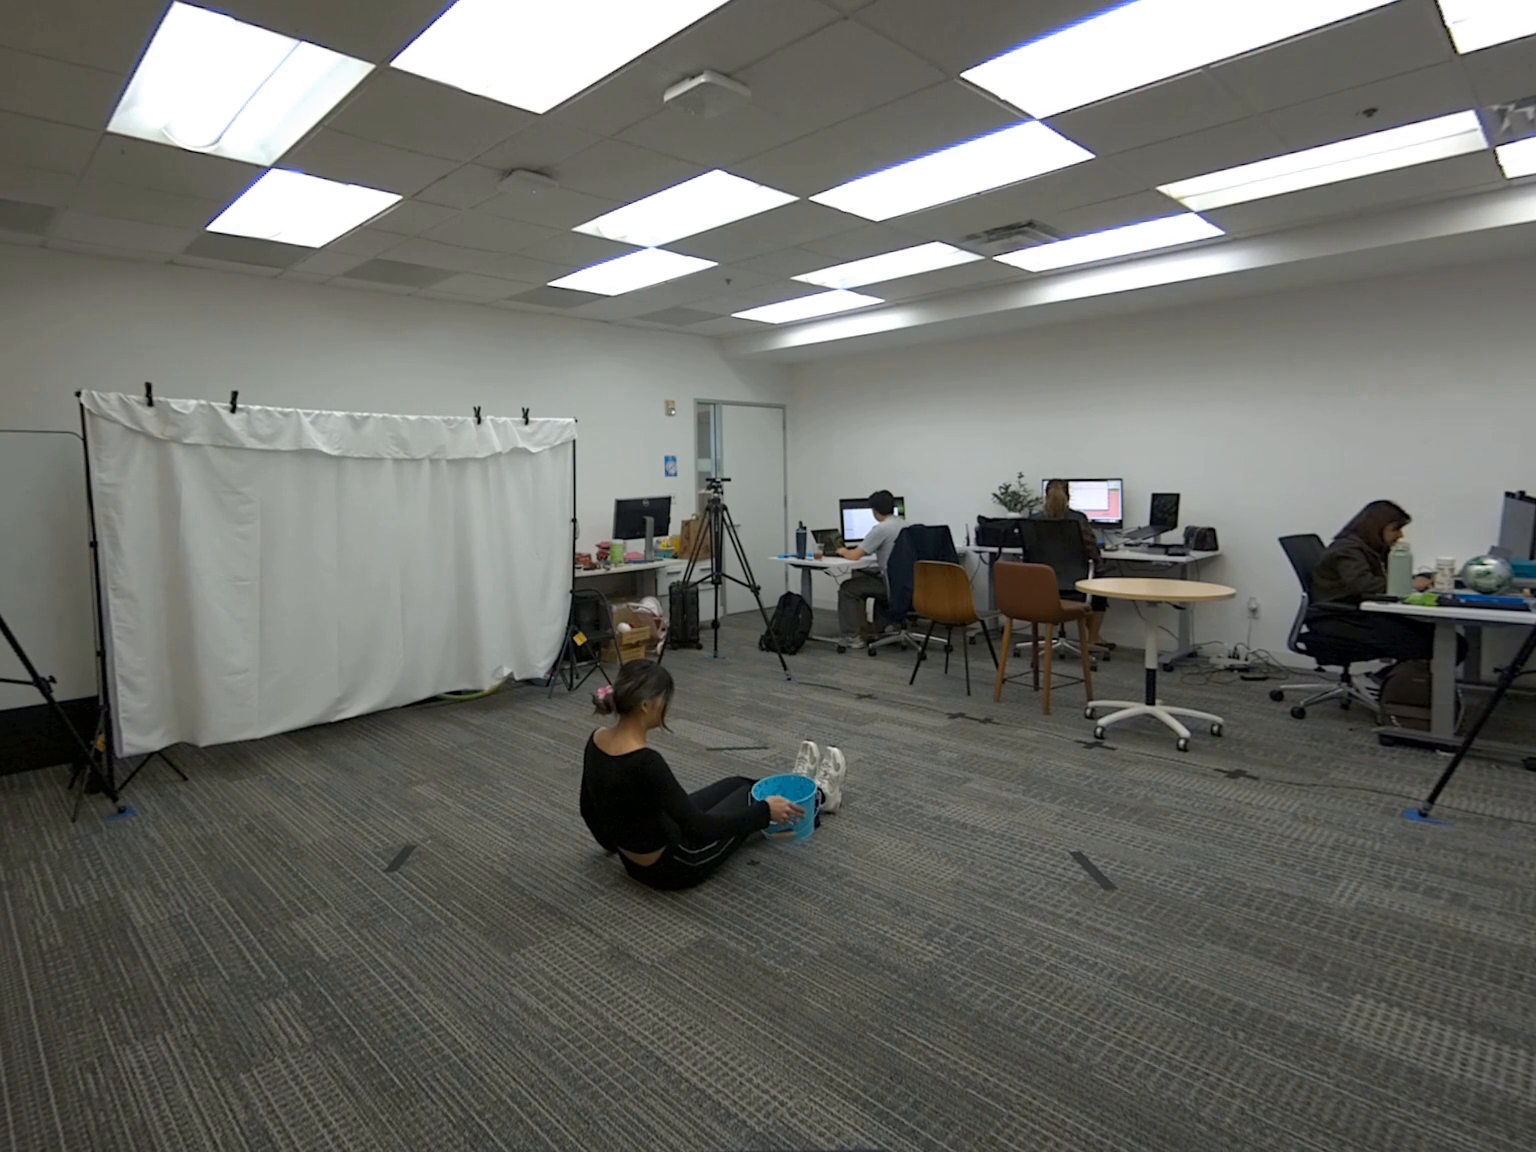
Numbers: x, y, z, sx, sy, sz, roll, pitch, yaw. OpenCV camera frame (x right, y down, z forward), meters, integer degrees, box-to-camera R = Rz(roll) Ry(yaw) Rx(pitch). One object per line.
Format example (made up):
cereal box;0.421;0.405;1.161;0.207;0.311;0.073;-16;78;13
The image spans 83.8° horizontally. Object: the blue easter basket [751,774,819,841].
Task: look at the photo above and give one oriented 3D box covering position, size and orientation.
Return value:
blue easter basket;0.058;0.819;2.976;0.243;0.154;0.246;-5;9;-1
